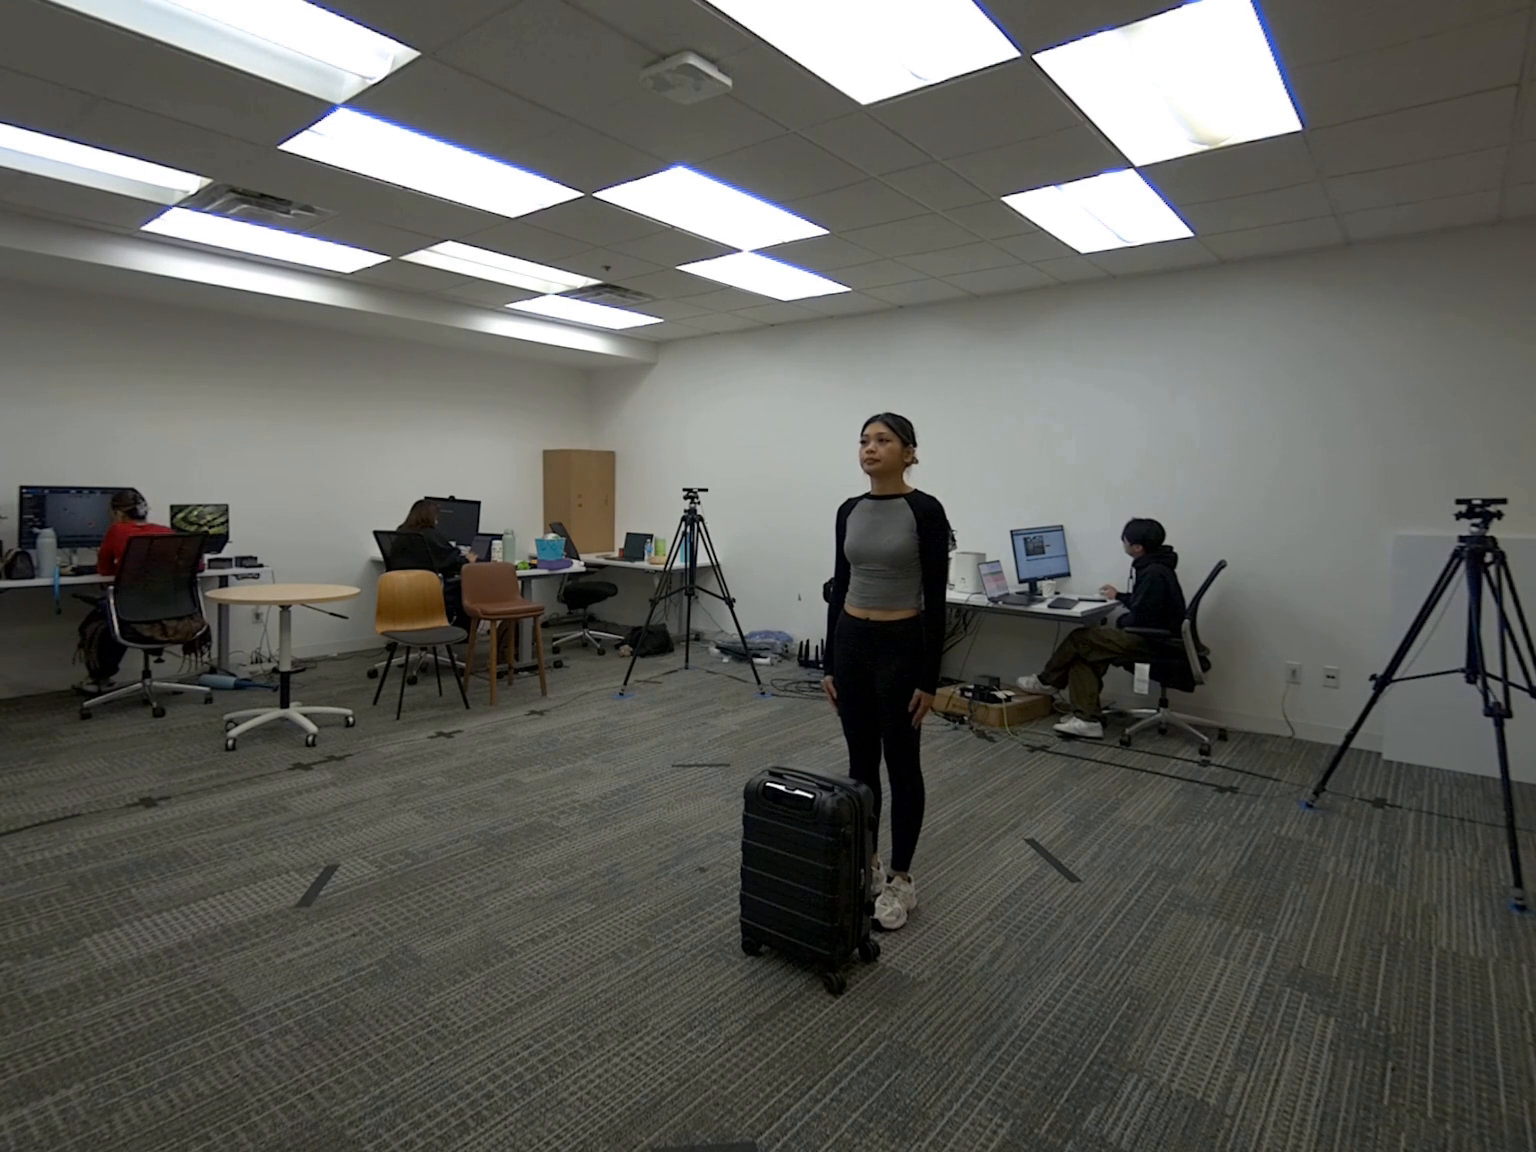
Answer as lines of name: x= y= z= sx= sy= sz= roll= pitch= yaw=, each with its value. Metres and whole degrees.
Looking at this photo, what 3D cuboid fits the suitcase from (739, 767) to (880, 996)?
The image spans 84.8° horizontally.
suitcase: x=0.108 y=0.856 z=2.541 sx=0.387 sy=0.548 sz=0.241 roll=2 pitch=3 yaw=36
